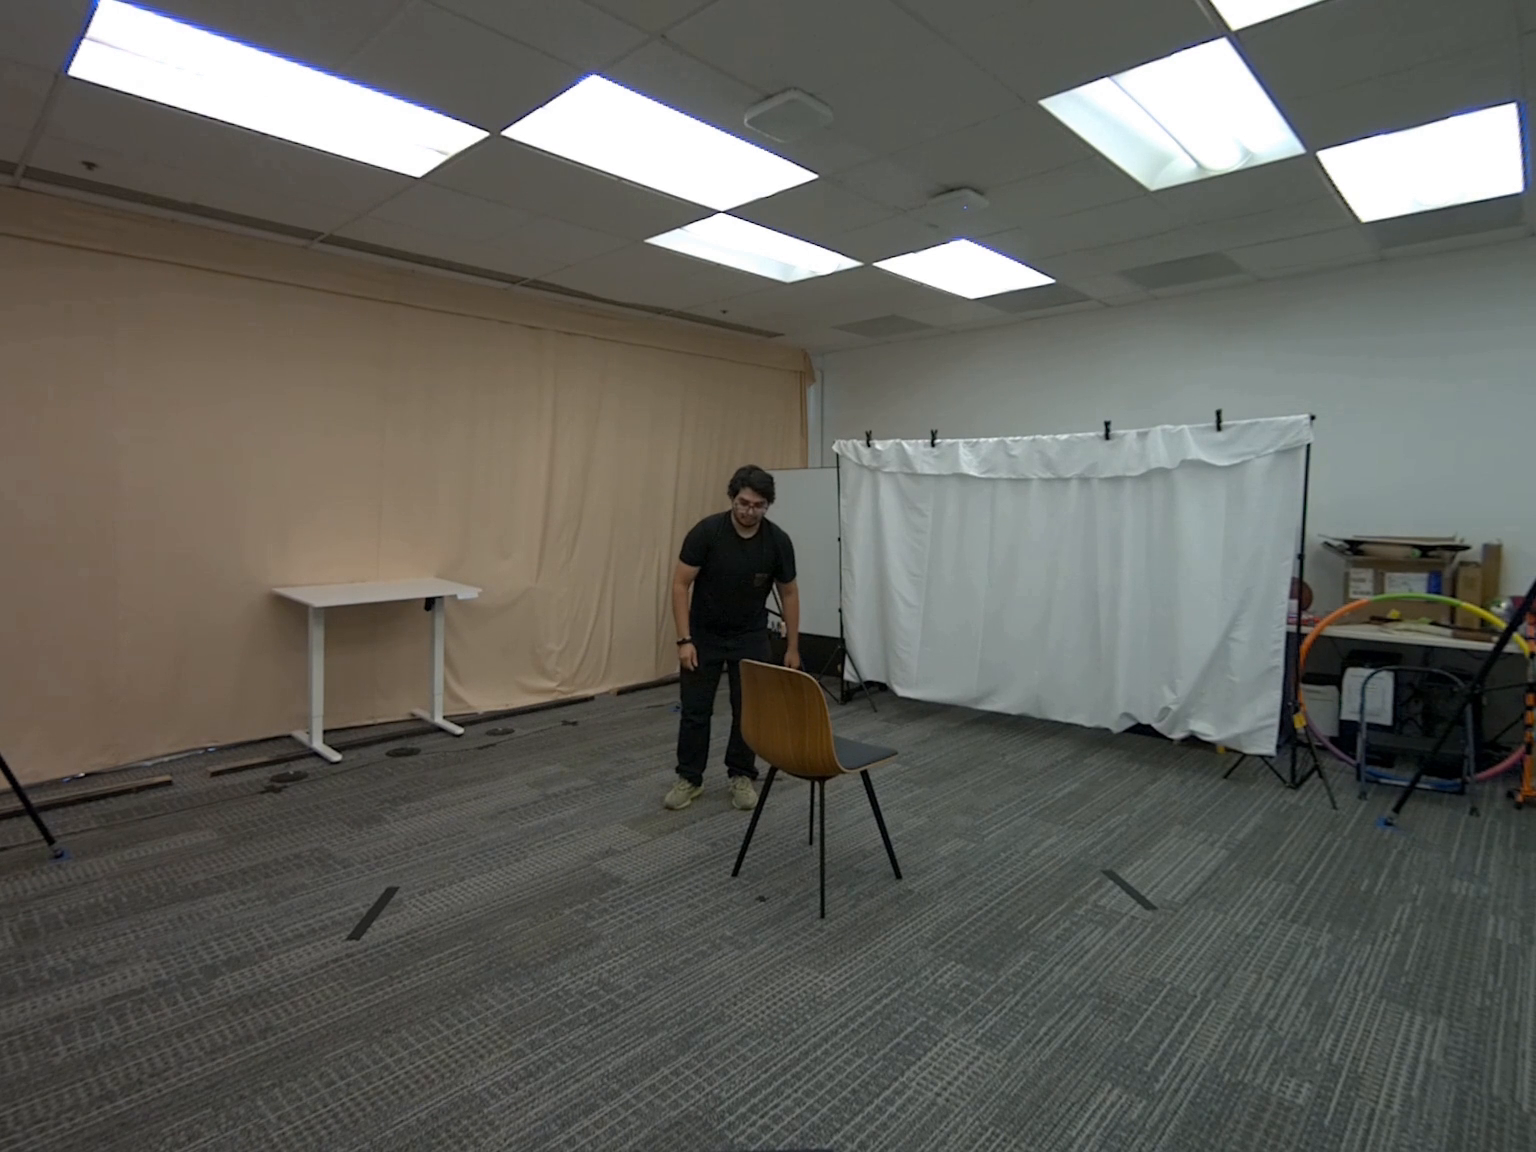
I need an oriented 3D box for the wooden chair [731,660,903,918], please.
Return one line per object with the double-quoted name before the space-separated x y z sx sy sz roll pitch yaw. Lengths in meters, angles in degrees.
"wooden chair" 0.192 0.705 3.125 0.508 0.873 0.494 -10 9 -44
